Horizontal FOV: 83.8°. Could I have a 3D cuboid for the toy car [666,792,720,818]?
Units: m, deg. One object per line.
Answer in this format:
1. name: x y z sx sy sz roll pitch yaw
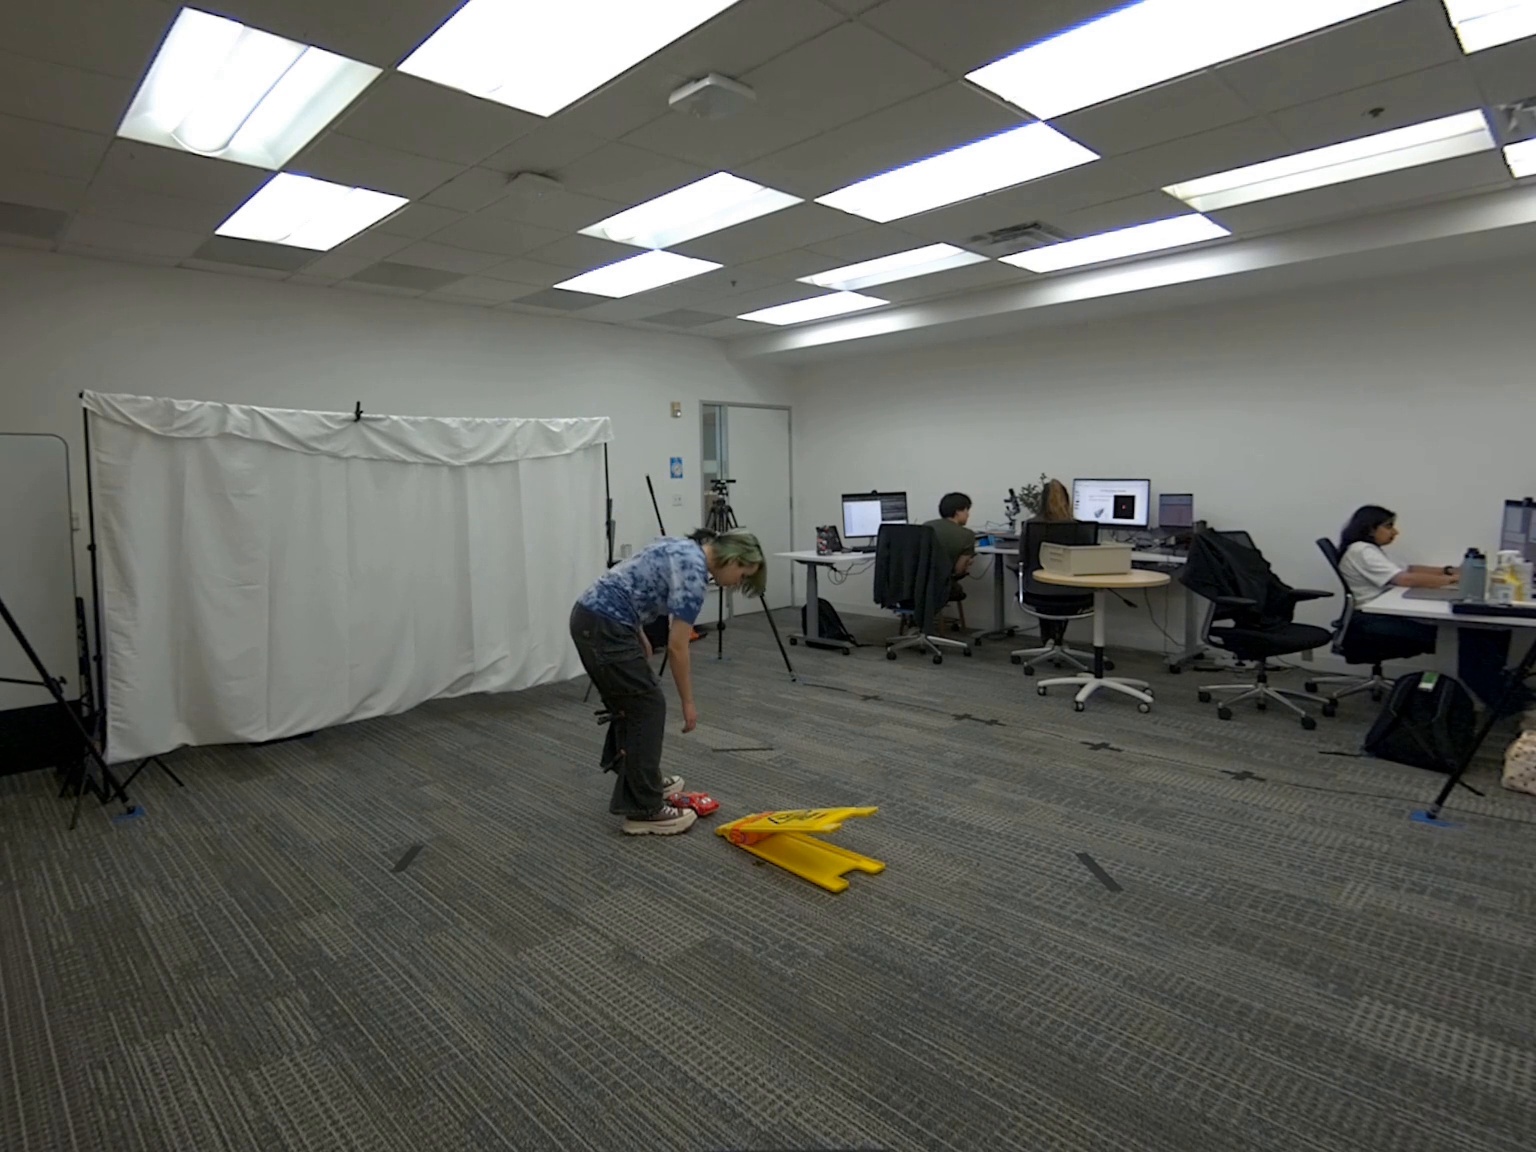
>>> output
1. toy car: -0.318 0.964 3.618 0.260 0.083 0.127 -11 -4 44
